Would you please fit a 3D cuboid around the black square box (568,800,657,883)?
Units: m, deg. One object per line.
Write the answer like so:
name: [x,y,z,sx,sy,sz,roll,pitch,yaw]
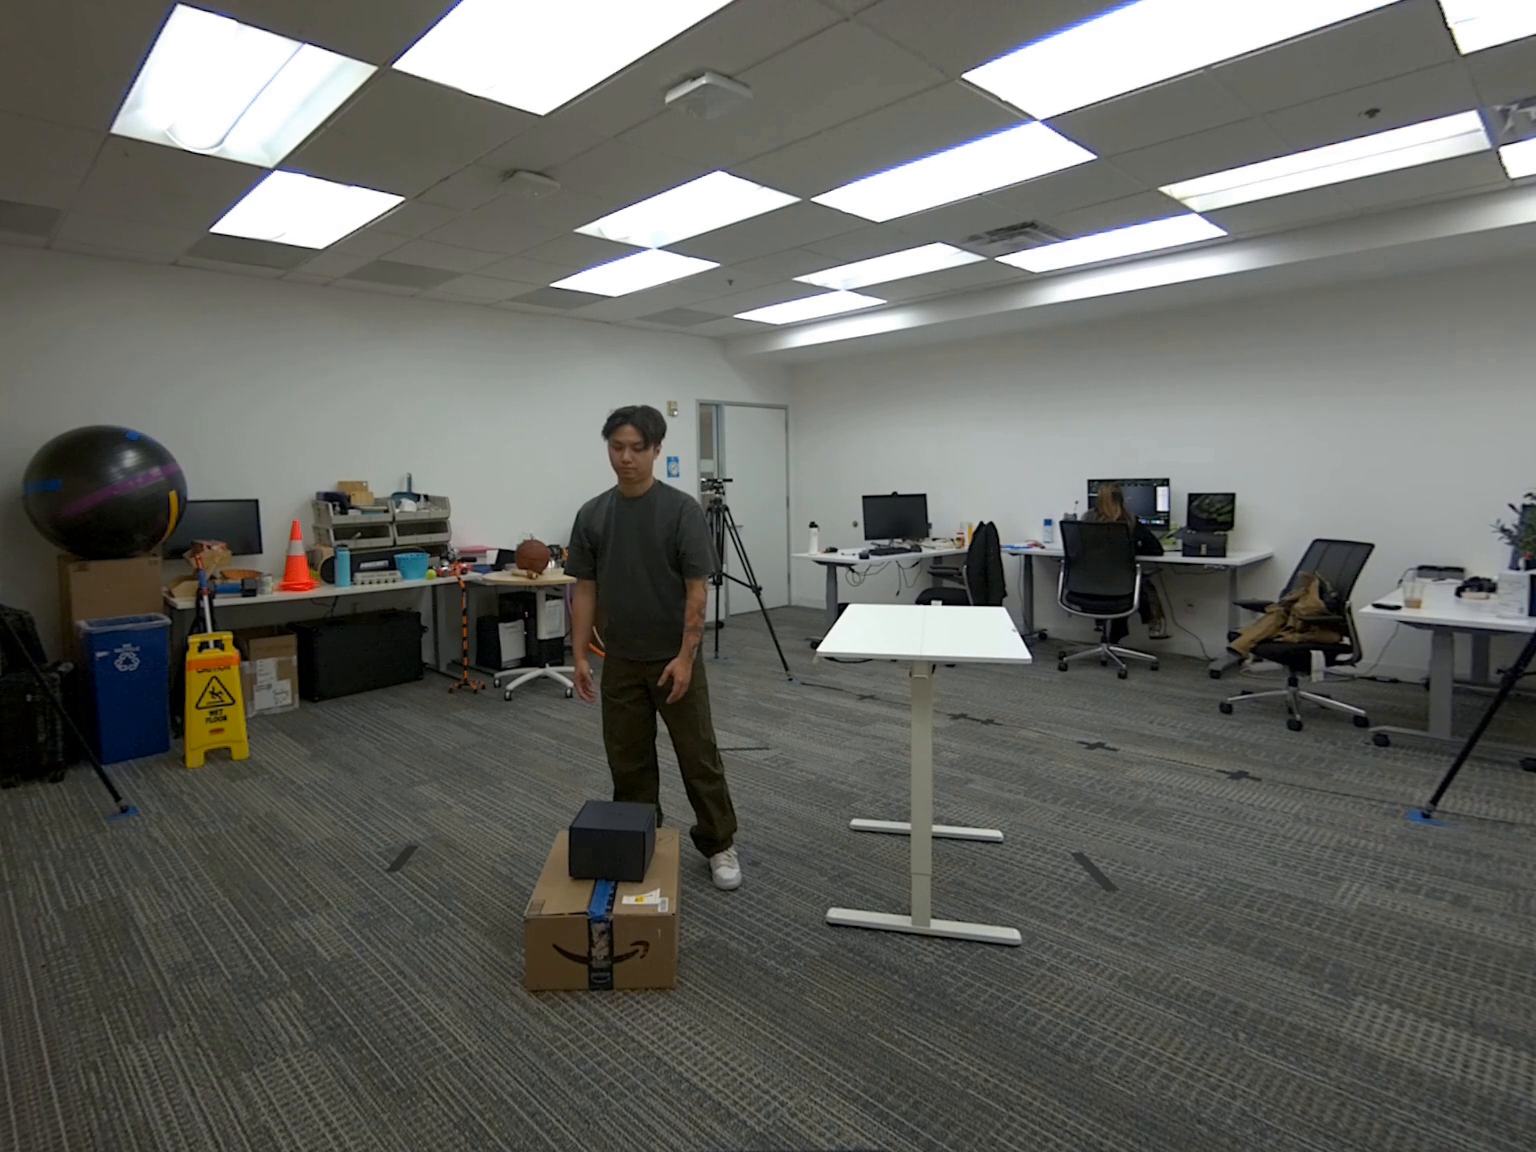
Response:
black square box: [-0.475,0.807,2.628,0.229,0.155,0.217,0,6,3]
